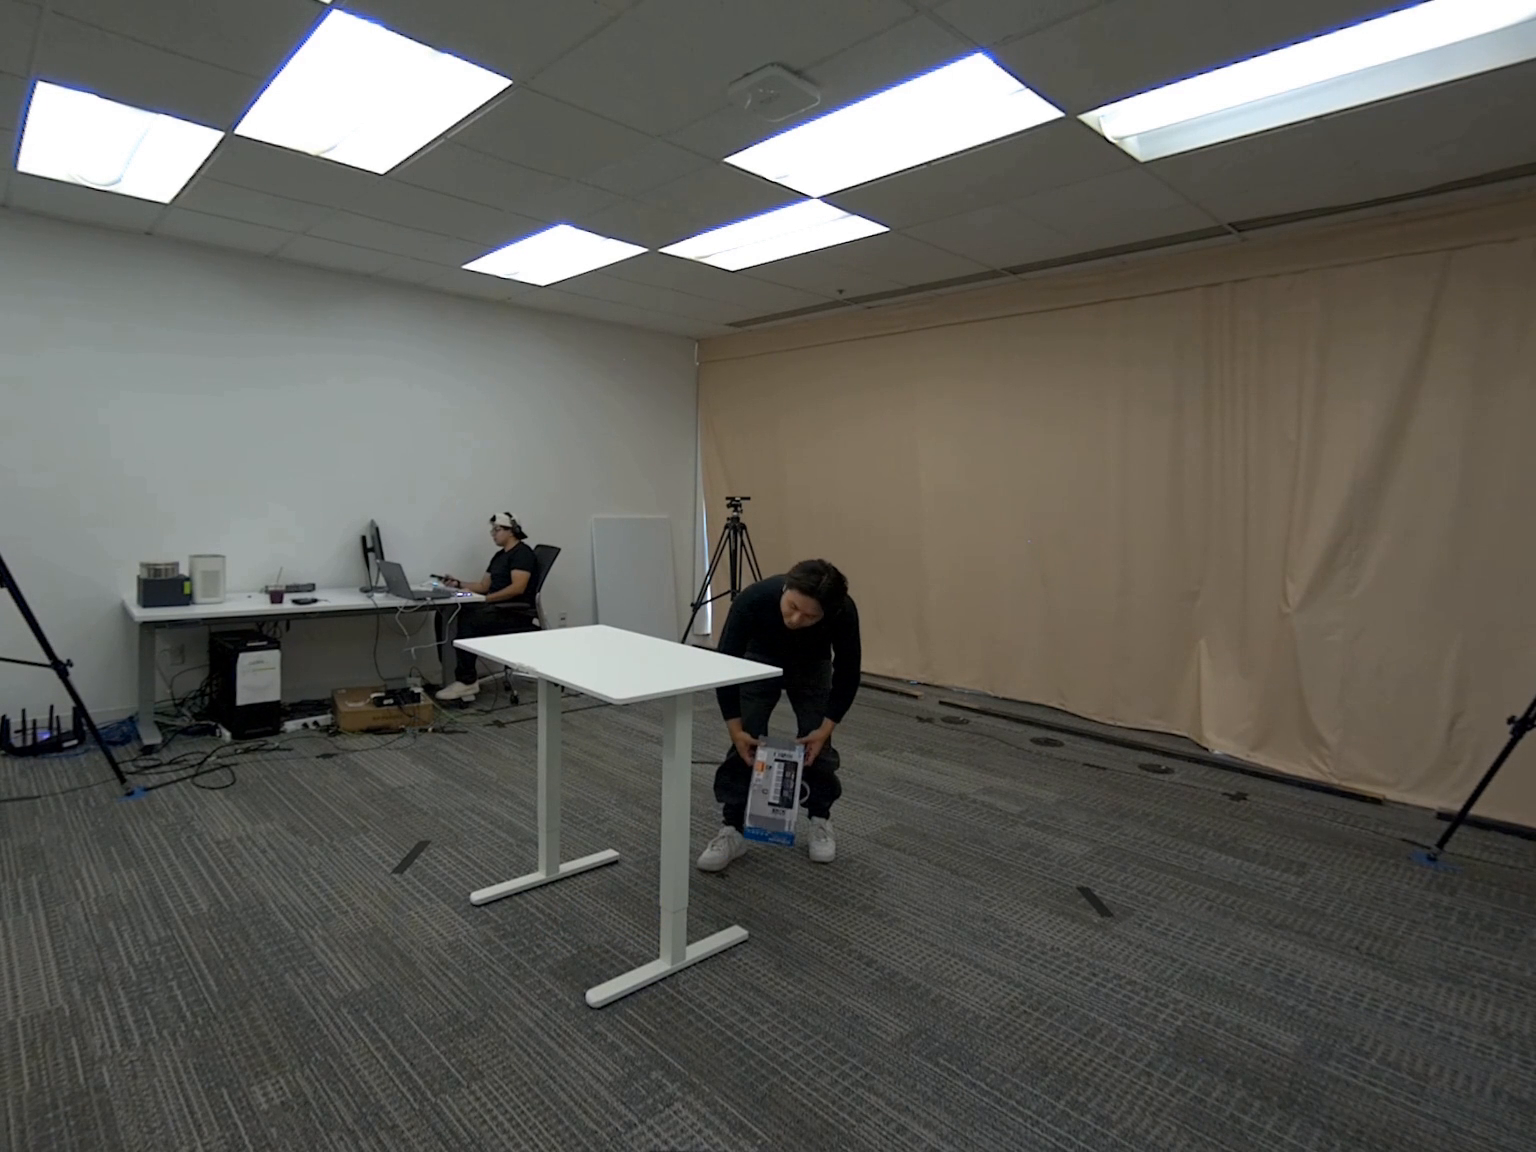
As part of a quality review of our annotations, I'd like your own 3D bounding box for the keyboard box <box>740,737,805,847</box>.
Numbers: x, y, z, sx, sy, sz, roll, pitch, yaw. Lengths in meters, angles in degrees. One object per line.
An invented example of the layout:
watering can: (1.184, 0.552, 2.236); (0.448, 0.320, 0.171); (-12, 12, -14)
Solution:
keyboard box: (0.010, 0.747, 2.947); (0.177, 0.058, 0.442); (7, 31, 6)
